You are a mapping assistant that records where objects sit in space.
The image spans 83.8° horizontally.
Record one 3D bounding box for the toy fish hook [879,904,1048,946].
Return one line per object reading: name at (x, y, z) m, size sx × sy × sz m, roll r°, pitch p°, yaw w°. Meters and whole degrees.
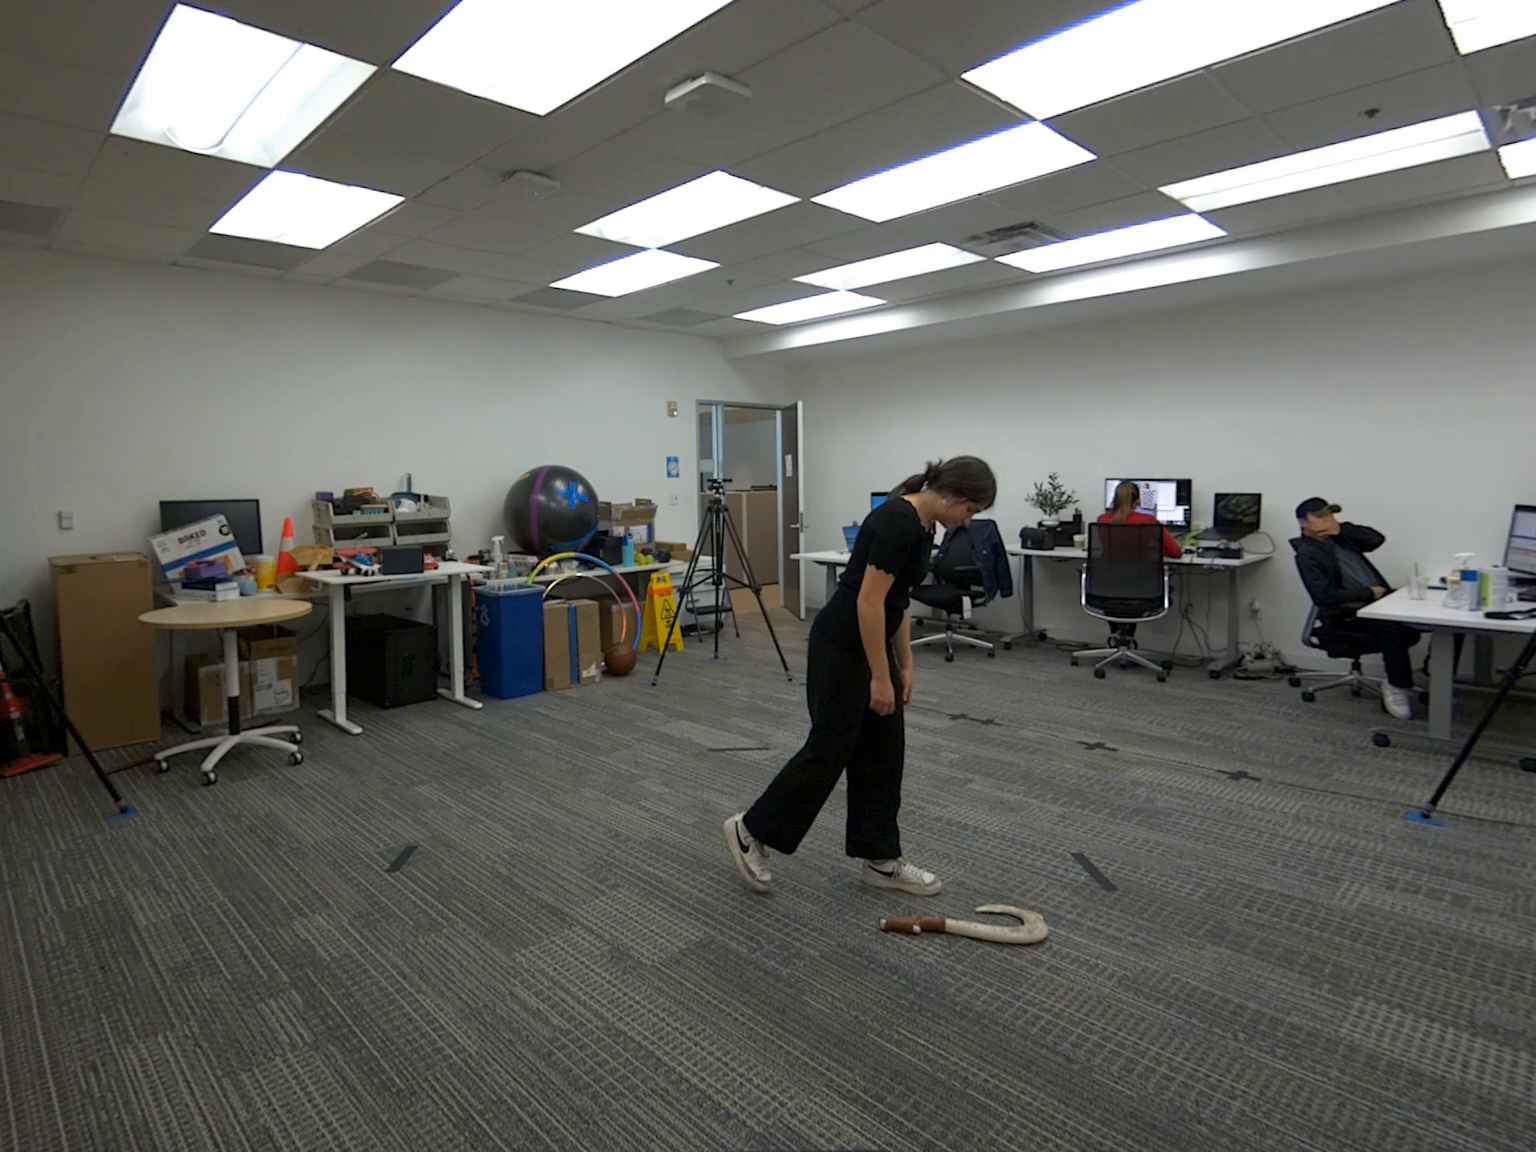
toy fish hook at (0.603, 1.071, 2.648) m, size 0.510 × 0.048 × 0.222 m, roll 1°, pitch -1°, yaw 7°
